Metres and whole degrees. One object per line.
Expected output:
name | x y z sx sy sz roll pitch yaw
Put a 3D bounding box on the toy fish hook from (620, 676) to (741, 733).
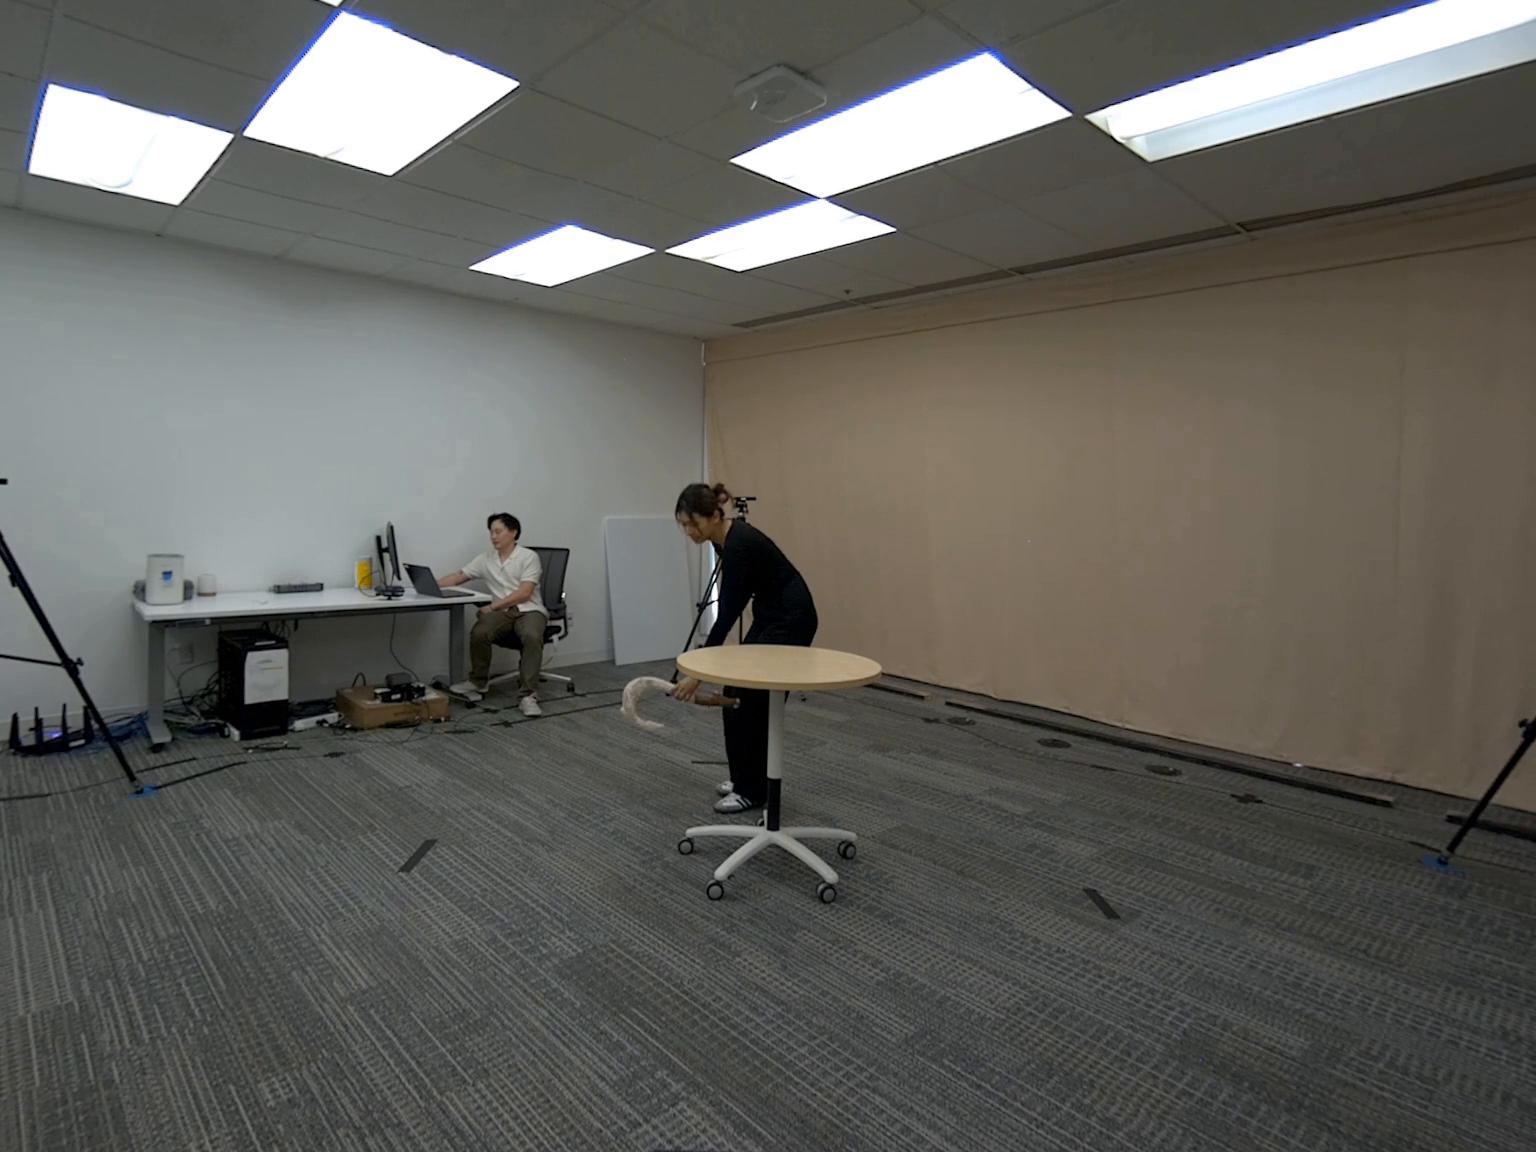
toy fish hook | -0.373 0.561 3.603 0.505 0.225 0.048 9 -6 -3
